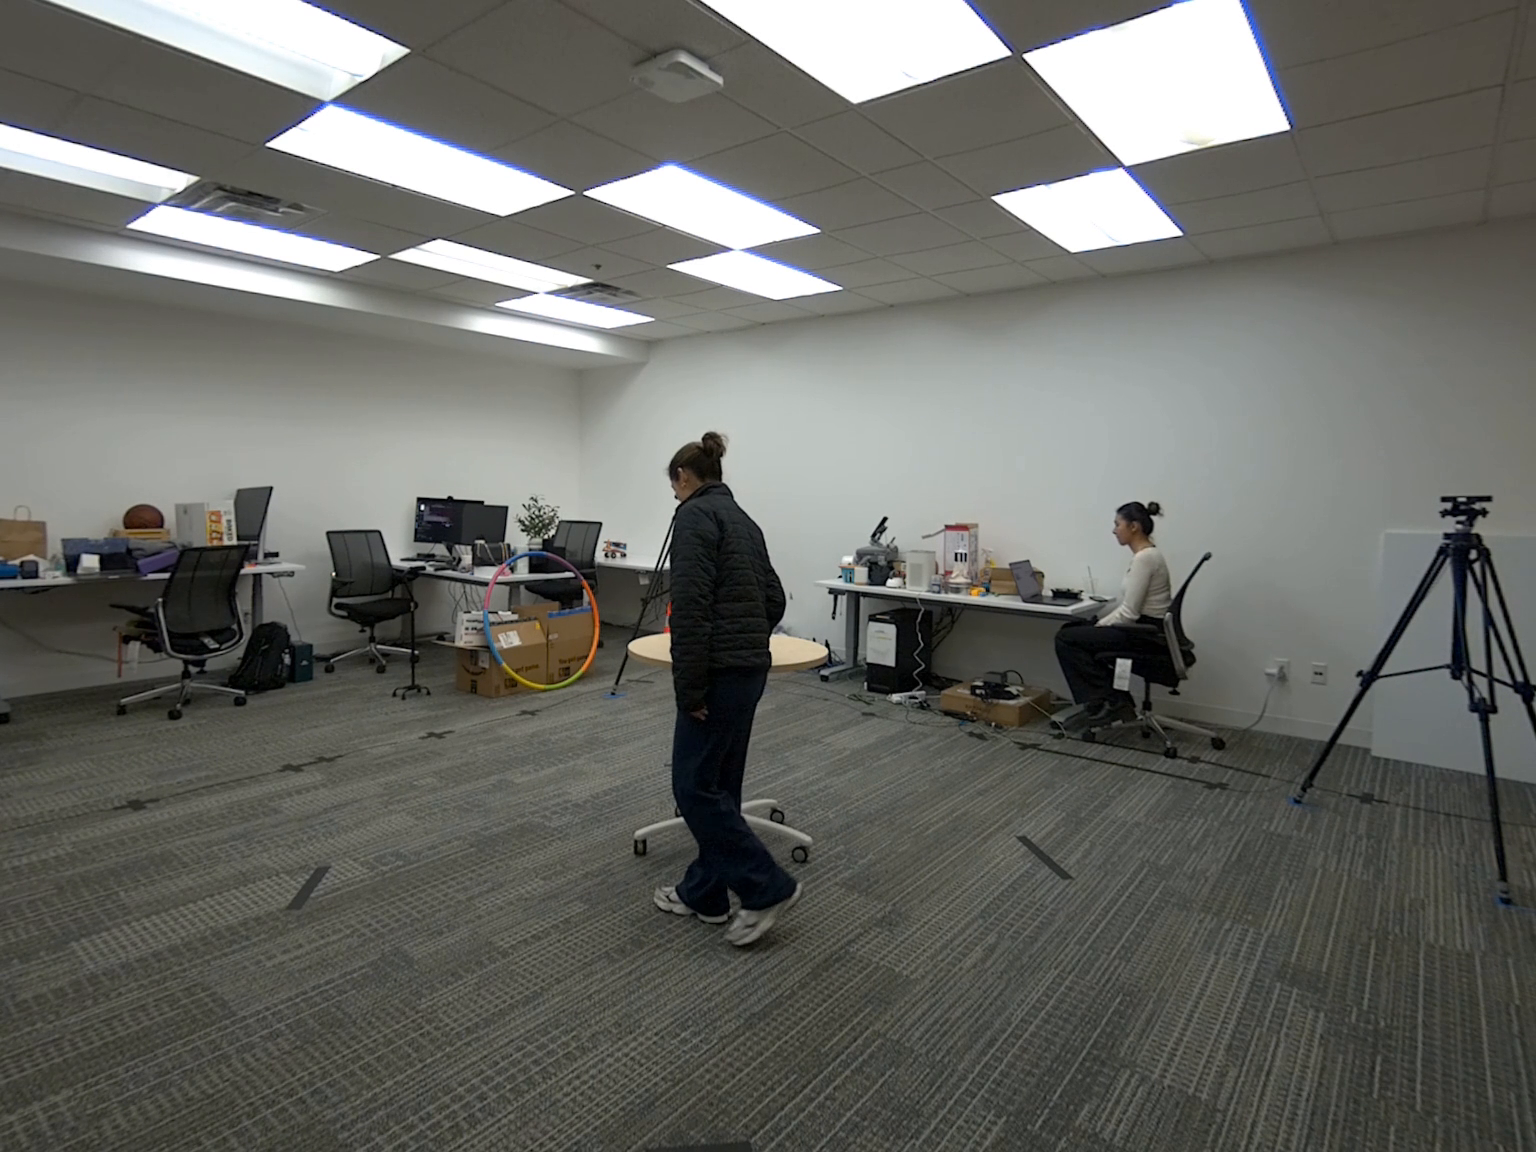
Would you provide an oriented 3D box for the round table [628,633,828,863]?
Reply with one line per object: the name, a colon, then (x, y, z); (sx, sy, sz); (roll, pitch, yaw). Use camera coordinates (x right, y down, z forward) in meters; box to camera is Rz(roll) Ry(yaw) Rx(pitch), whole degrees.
round table: (-0.128, 0.654, 3.288); (0.784, 0.784, 0.789); (1, 4, -2)
